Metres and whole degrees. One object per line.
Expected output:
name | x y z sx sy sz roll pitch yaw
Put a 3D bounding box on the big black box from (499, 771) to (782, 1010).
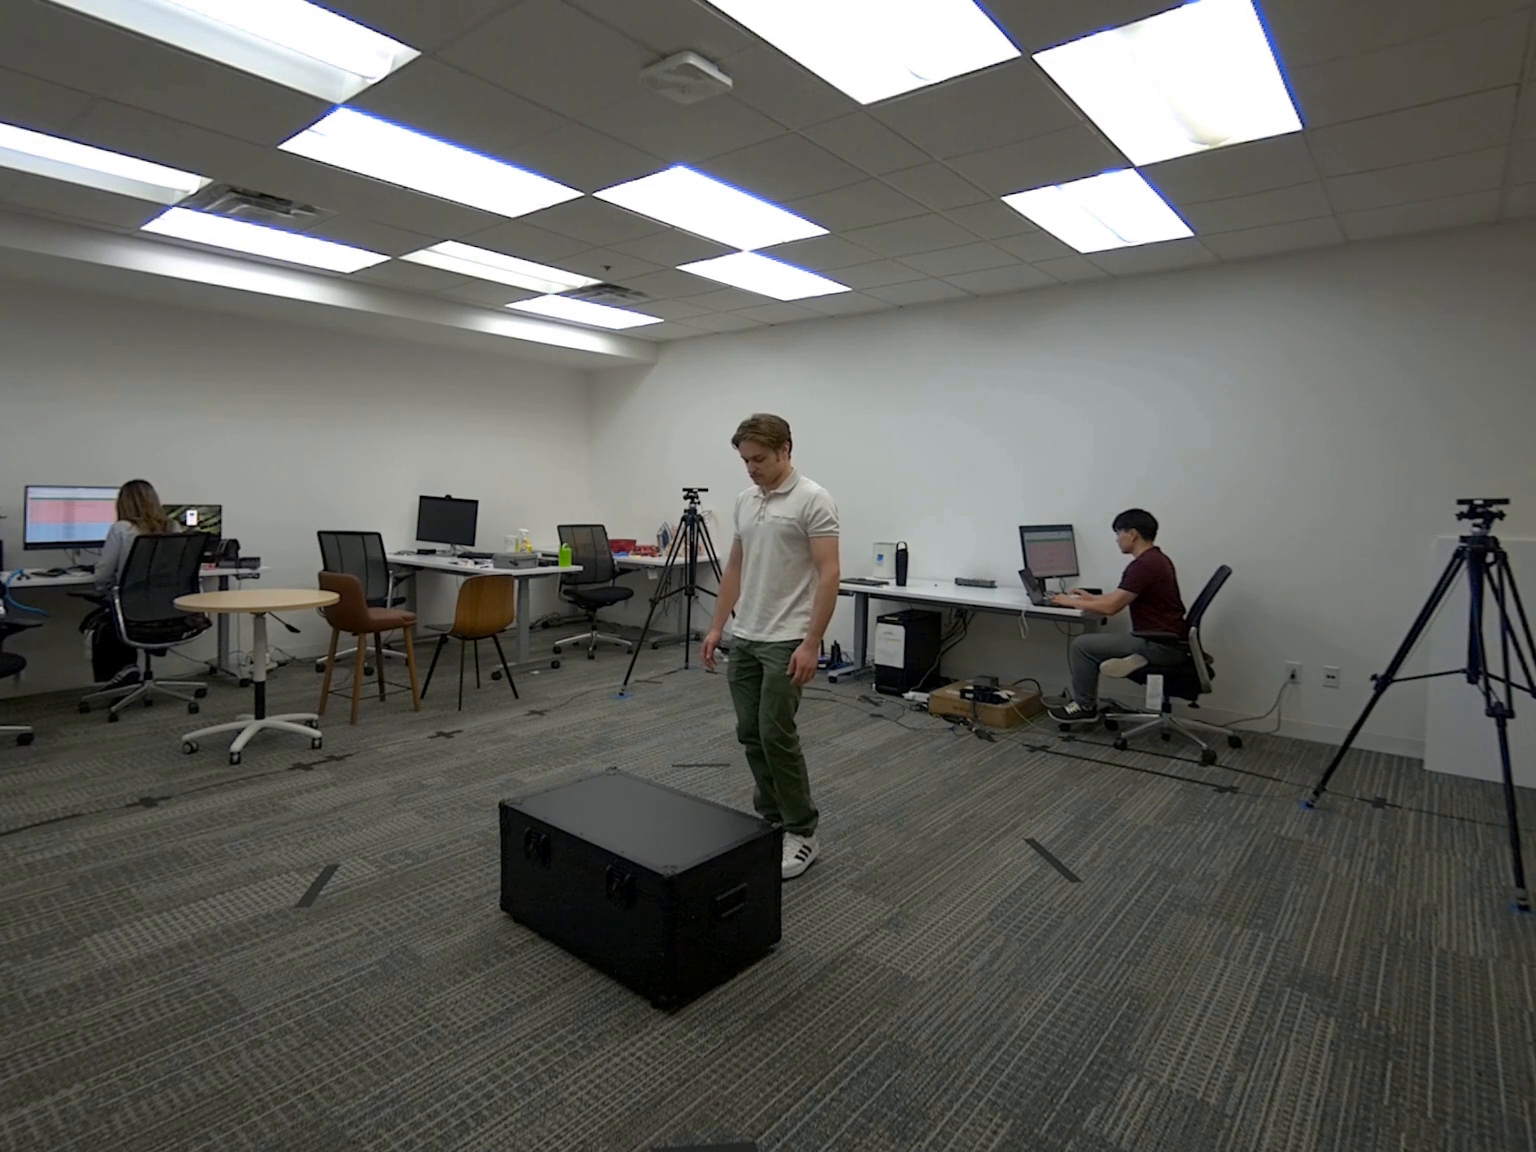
big black box | -0.445 0.918 2.671 0.891 0.395 0.506 6 7 40
